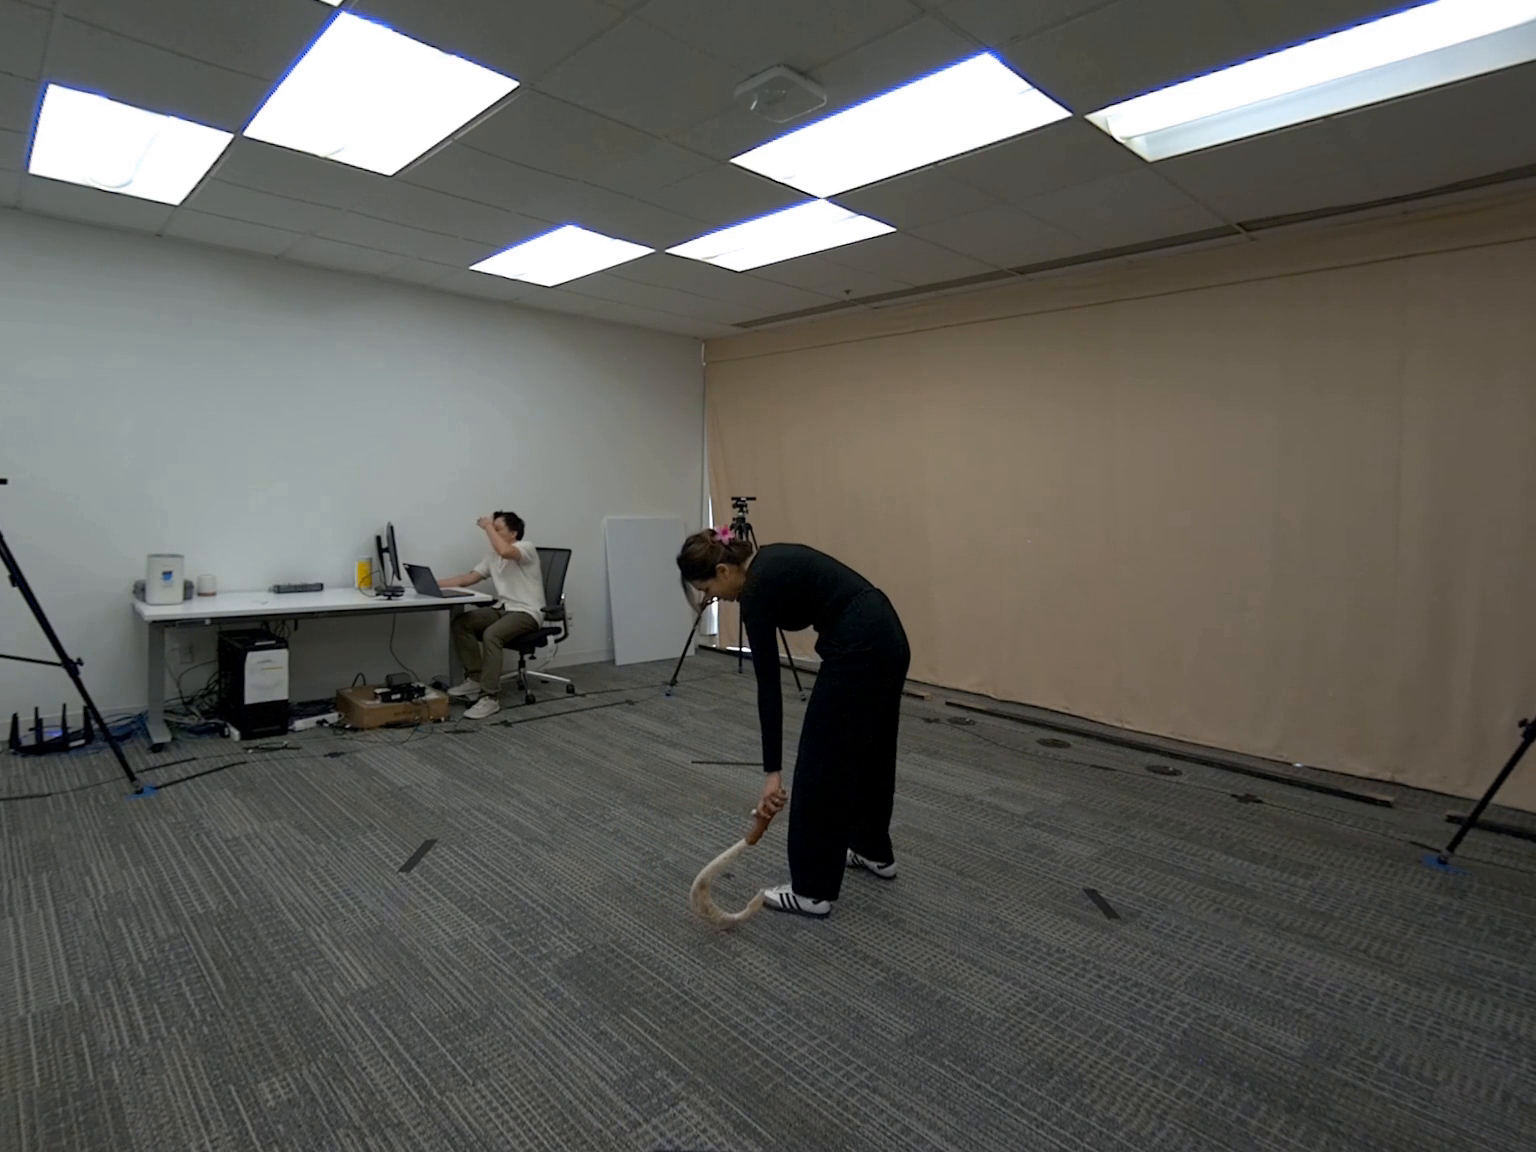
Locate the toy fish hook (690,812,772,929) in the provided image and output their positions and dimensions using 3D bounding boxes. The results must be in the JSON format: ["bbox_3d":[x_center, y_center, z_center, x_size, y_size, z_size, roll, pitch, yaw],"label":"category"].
[{"bbox_3d":[-0.055,0.909,2.684,0.223,0.506,0.049,32,8,-8],"label":"toy fish hook"}]
